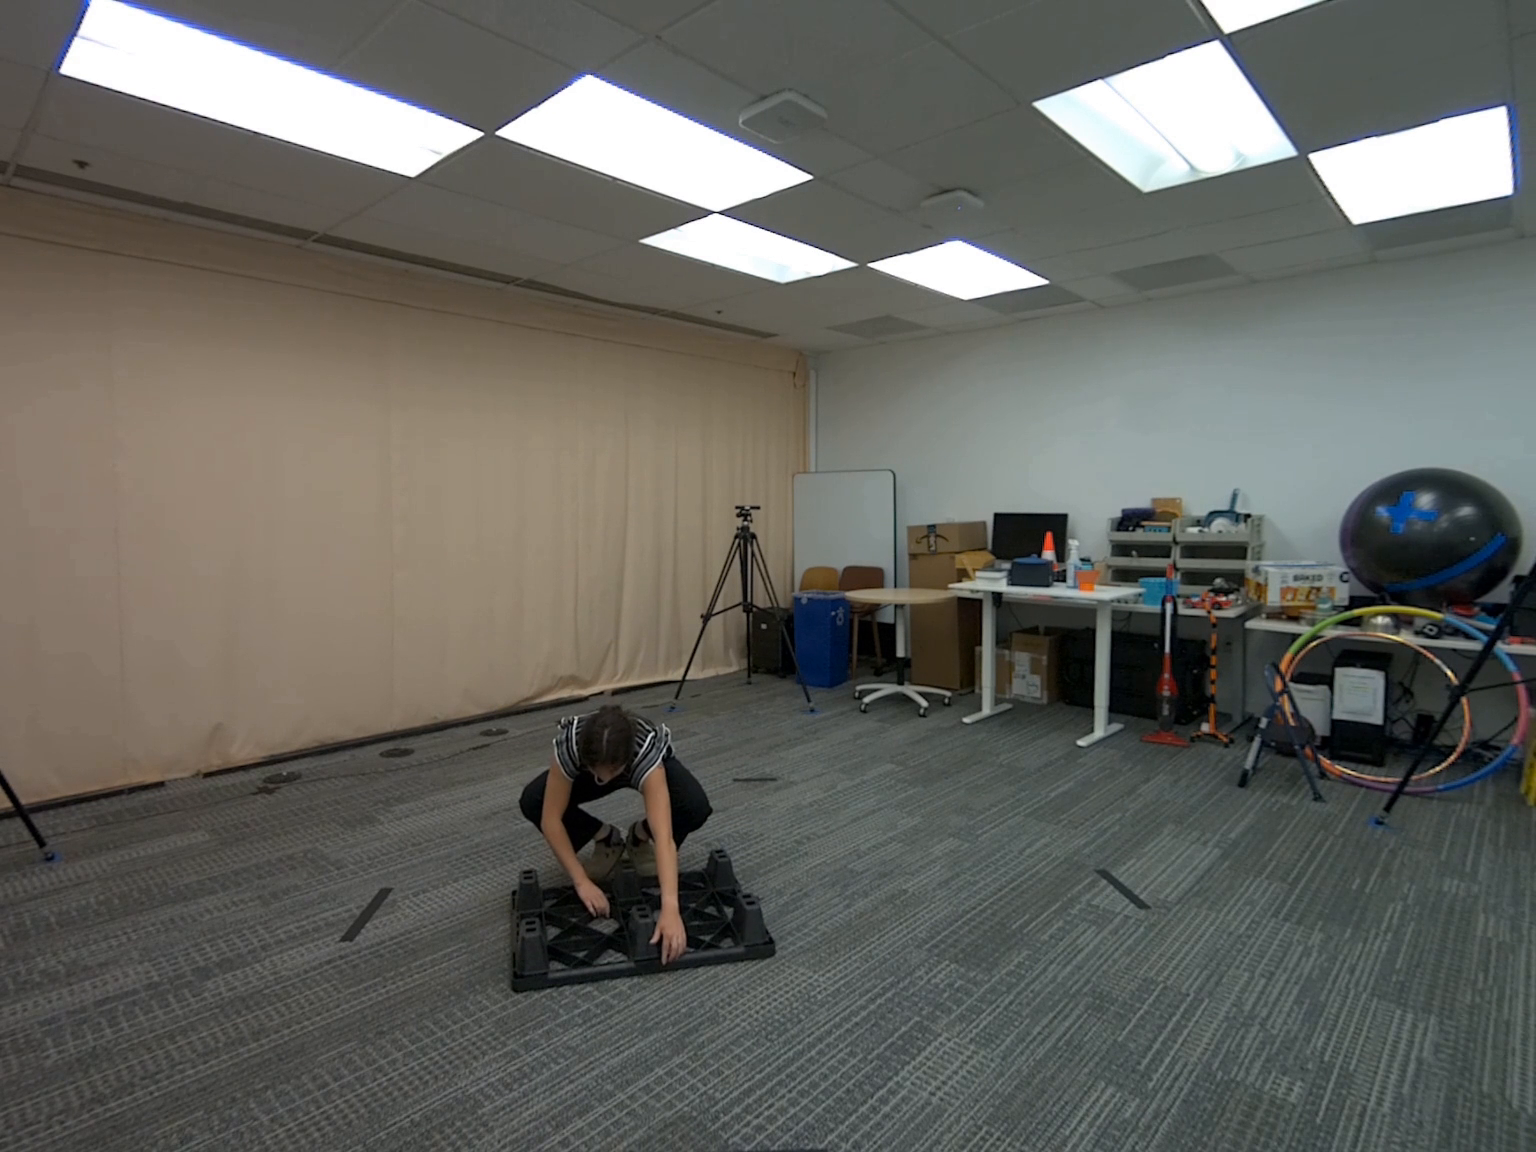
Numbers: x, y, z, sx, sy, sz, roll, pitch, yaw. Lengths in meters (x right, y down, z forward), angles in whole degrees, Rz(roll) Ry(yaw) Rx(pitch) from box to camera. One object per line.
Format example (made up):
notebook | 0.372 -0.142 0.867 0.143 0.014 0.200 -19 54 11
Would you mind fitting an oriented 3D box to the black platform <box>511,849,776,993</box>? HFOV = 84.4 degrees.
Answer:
black platform | -0.438 1.092 2.783 0.793 0.143 0.616 -2 5 -15
